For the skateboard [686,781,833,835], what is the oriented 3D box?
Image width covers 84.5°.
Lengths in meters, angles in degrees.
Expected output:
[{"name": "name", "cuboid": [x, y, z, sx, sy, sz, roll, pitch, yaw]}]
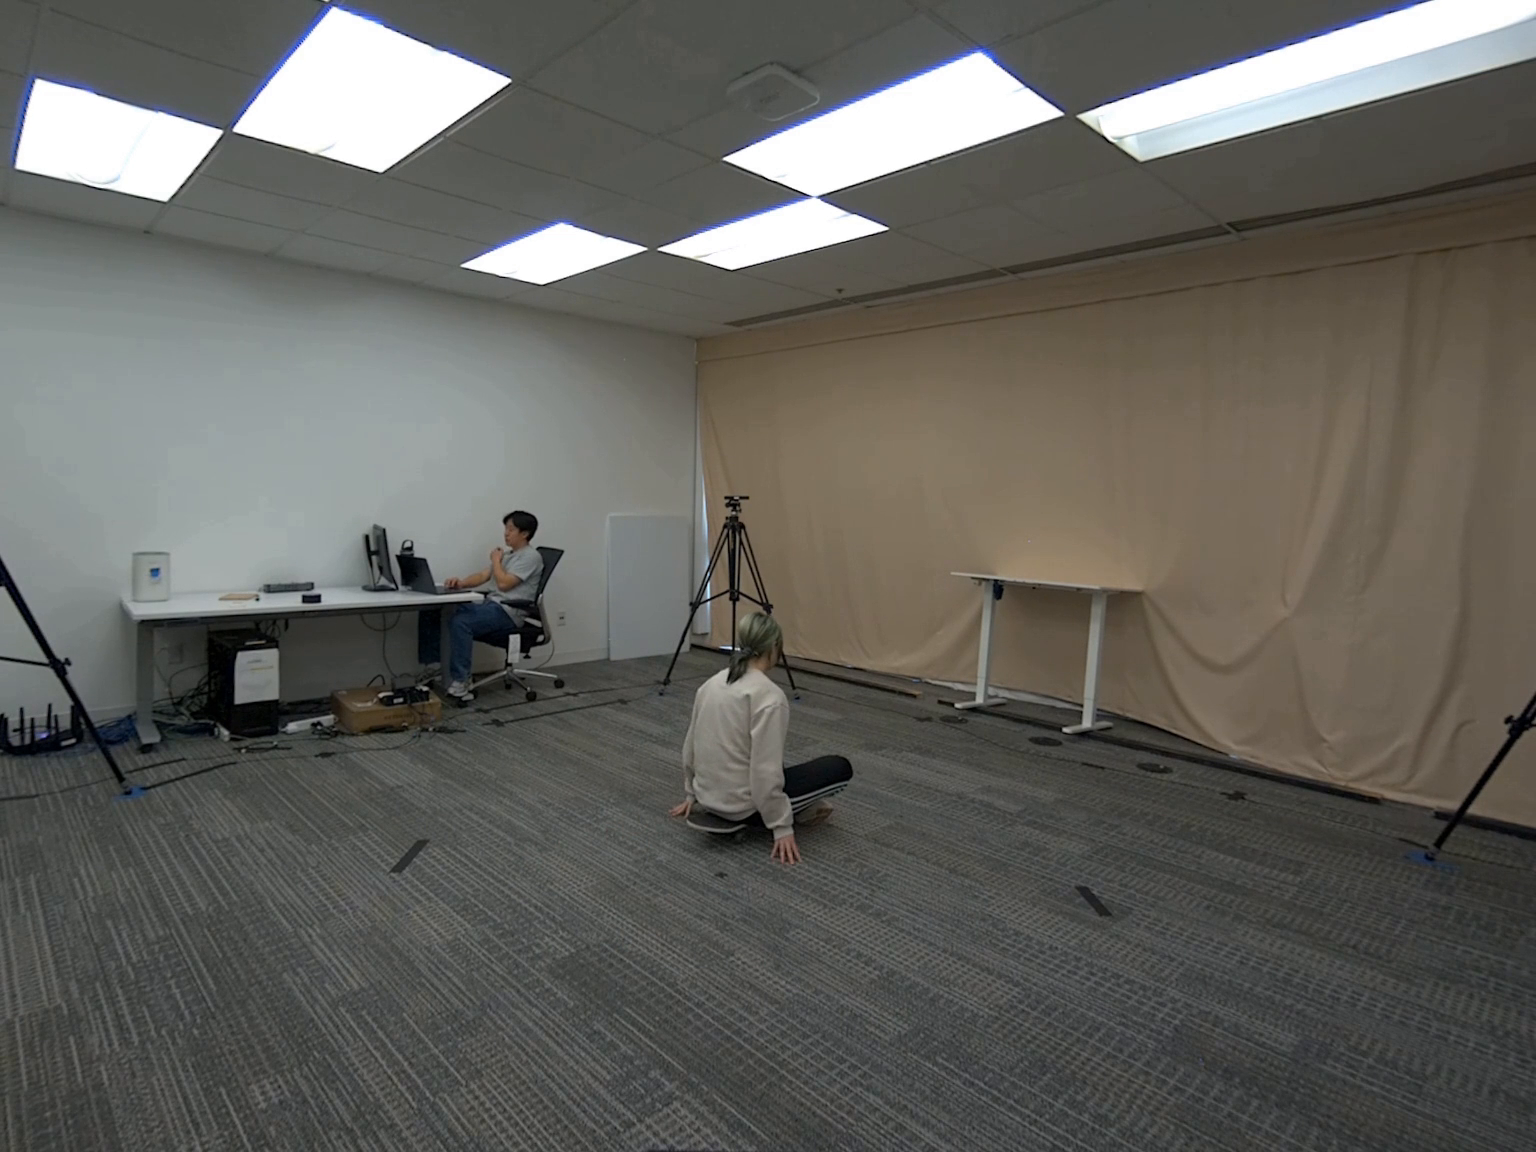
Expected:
[{"name": "skateboard", "cuboid": [-0.042, 1.007, 3.605, 0.198, 0.110, 0.770, 1, 6, 34]}]
